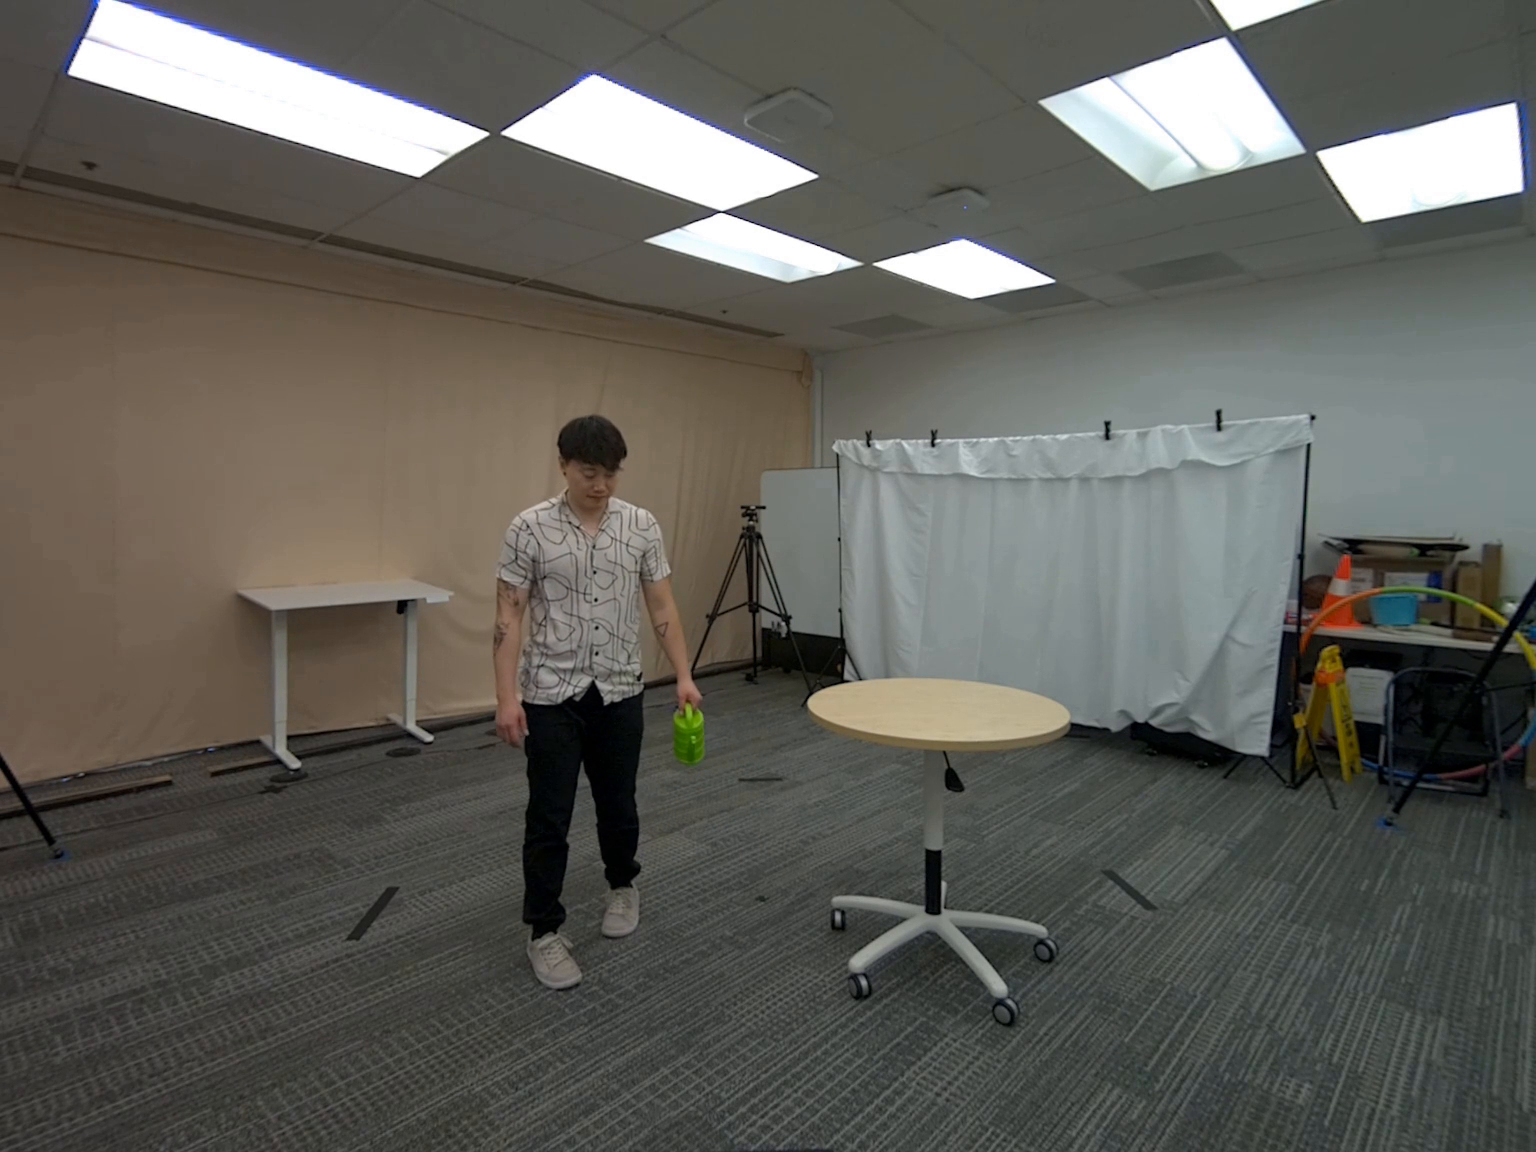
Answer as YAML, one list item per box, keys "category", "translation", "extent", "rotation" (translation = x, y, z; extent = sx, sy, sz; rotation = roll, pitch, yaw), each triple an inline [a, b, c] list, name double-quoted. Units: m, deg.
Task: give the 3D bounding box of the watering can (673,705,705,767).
- category: "watering can"
  translation: [-0.247, 0.495, 2.541]
  extent: [0.098, 0.175, 0.280]
  rotation: [0, 20, 3]
